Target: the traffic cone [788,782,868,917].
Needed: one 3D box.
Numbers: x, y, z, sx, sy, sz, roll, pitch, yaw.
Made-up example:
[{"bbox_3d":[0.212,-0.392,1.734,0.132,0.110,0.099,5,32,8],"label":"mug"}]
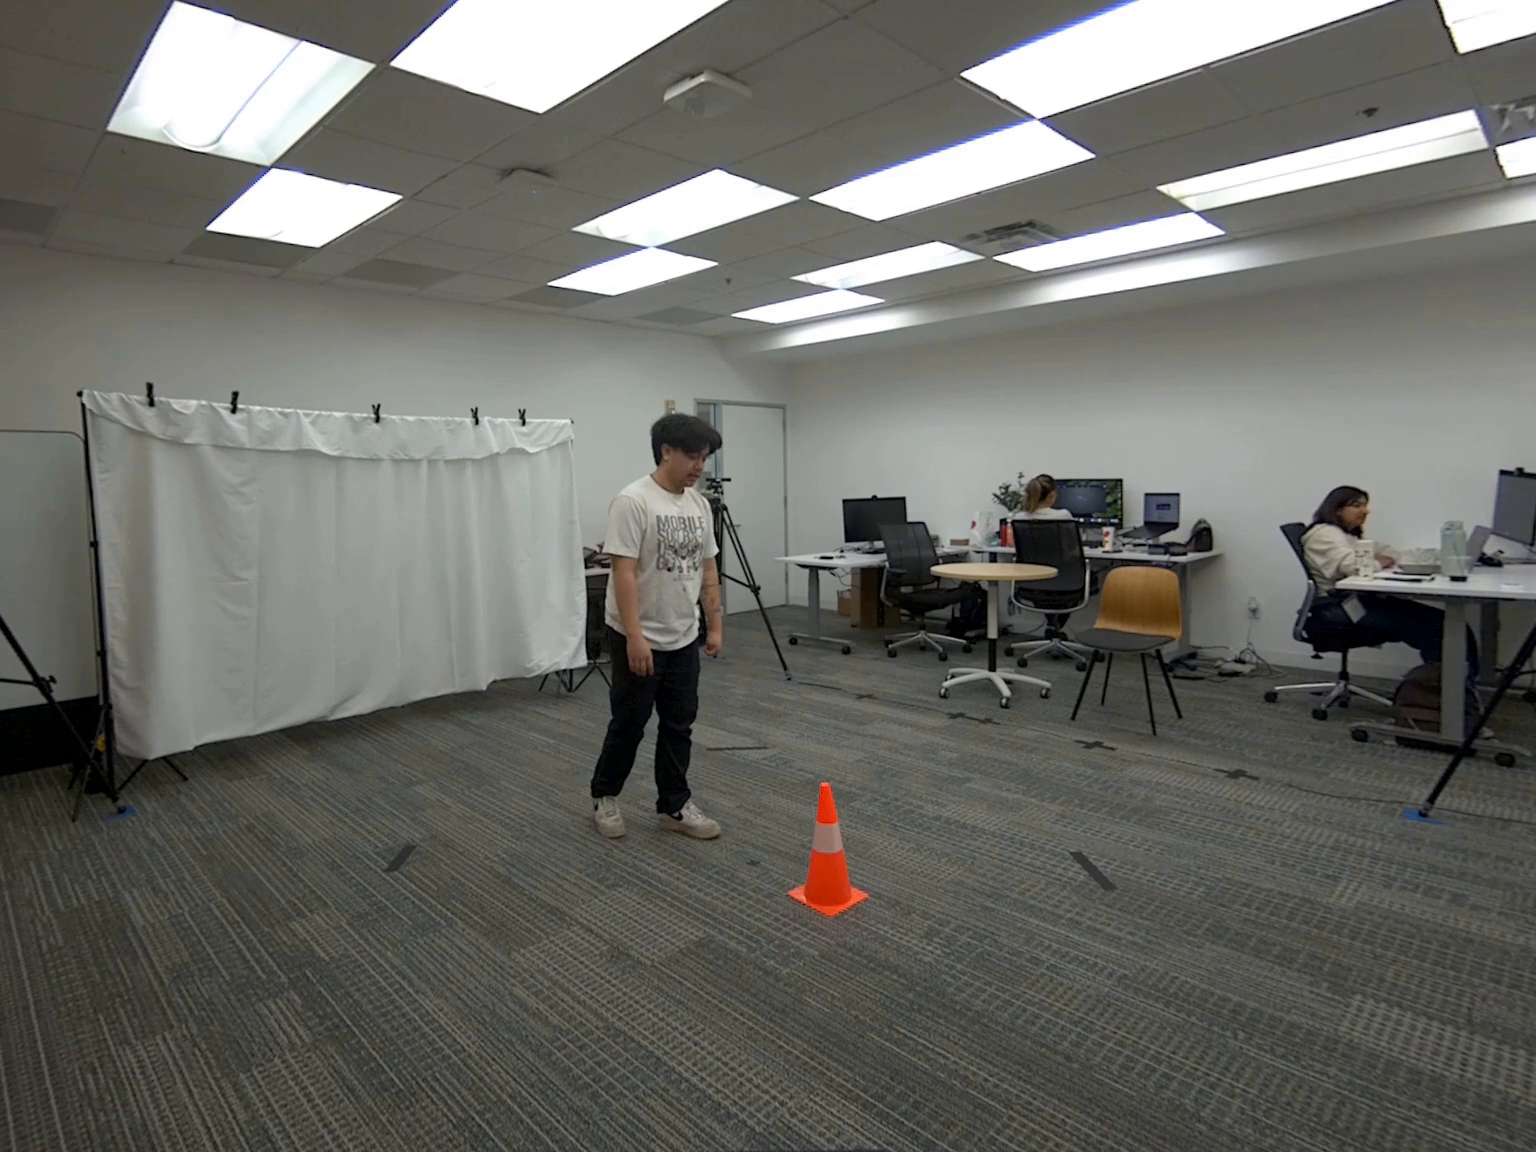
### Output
[{"bbox_3d":[0.202,0.879,2.843,0.198,0.382,0.211,-4,4,-42],"label":"traffic cone"}]
